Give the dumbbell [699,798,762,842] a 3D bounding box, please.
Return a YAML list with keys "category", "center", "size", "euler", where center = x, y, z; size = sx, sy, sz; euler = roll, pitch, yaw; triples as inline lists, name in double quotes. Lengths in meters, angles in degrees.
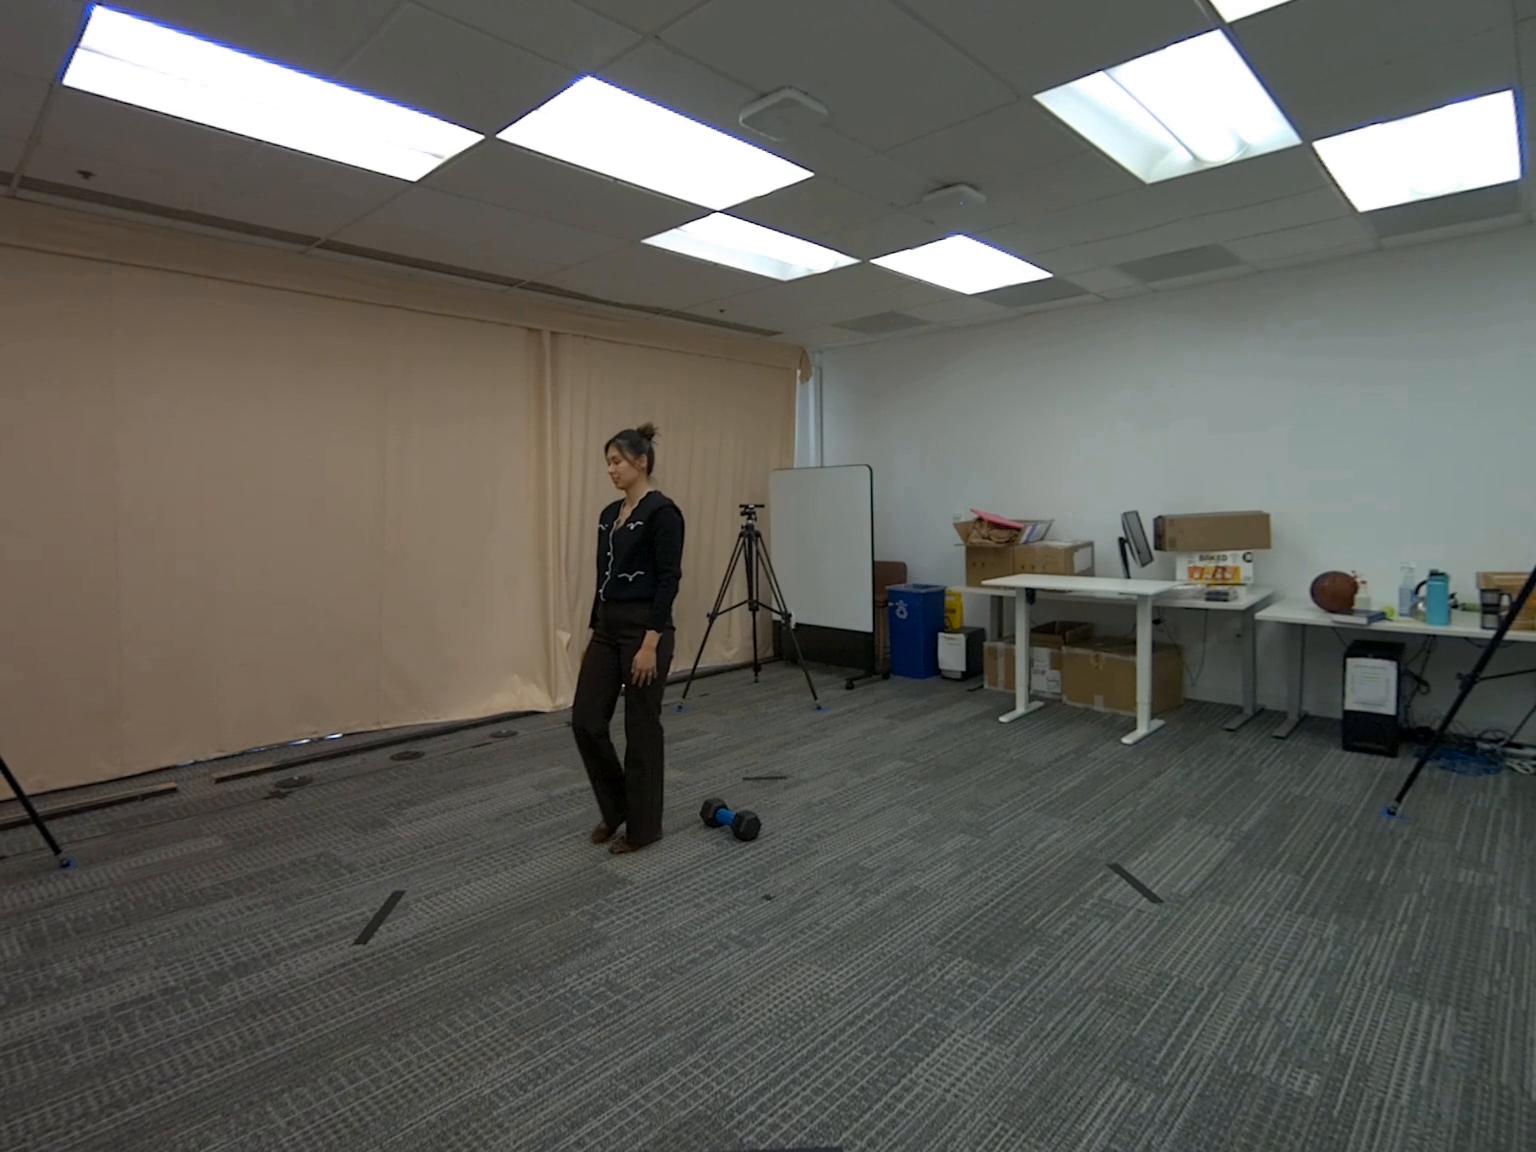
- category: "dumbbell"
  center: [-0.160, 1.037, 3.588]
  size: [0.303, 0.123, 0.105]
  euler: [4, -26, 49]
